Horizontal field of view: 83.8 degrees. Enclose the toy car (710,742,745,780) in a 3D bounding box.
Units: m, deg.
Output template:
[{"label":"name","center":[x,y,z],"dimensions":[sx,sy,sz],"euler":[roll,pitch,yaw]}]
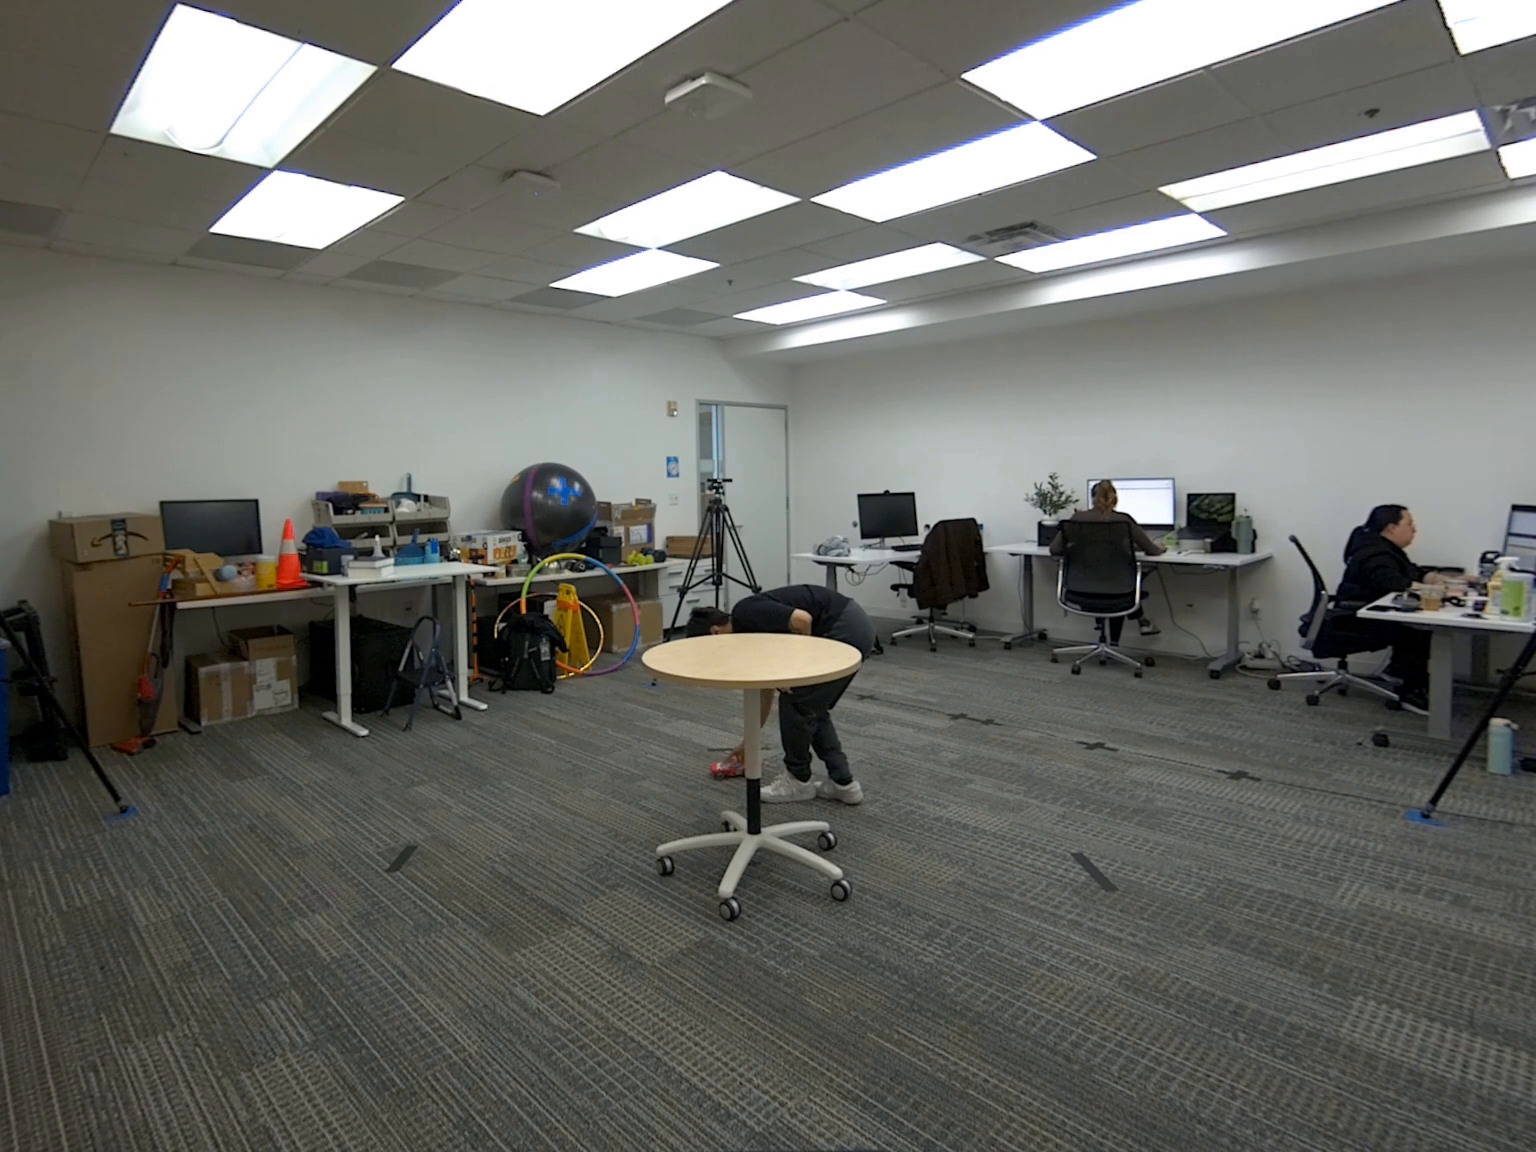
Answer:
[{"label":"toy car","center":[-0.145,0.910,4.057],"dimensions":[0.252,0.082,0.132],"euler":[-14,9,-10]}]
